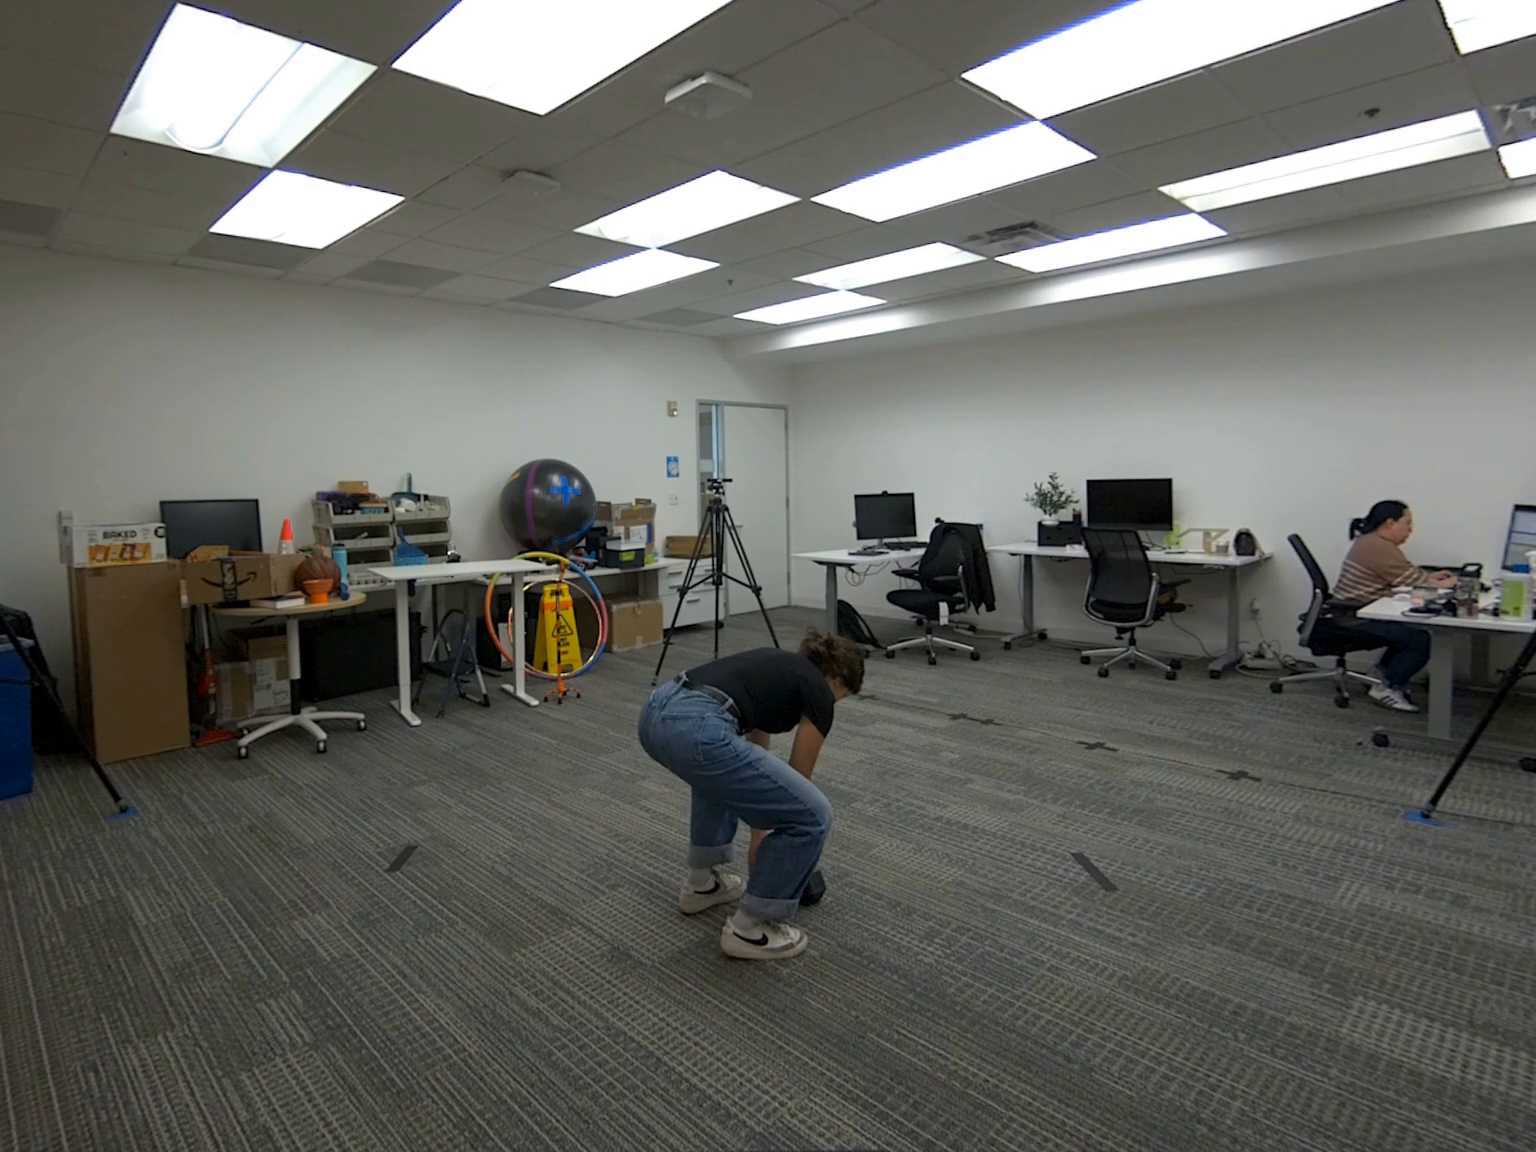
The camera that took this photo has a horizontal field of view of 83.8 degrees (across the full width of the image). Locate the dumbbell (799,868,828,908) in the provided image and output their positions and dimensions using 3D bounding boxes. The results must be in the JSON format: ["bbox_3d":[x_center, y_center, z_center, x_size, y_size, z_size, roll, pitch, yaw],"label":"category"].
[{"bbox_3d":[0.057,1.025,2.758,0.286,0.121,0.113,-8,41,-41],"label":"dumbbell"}]
